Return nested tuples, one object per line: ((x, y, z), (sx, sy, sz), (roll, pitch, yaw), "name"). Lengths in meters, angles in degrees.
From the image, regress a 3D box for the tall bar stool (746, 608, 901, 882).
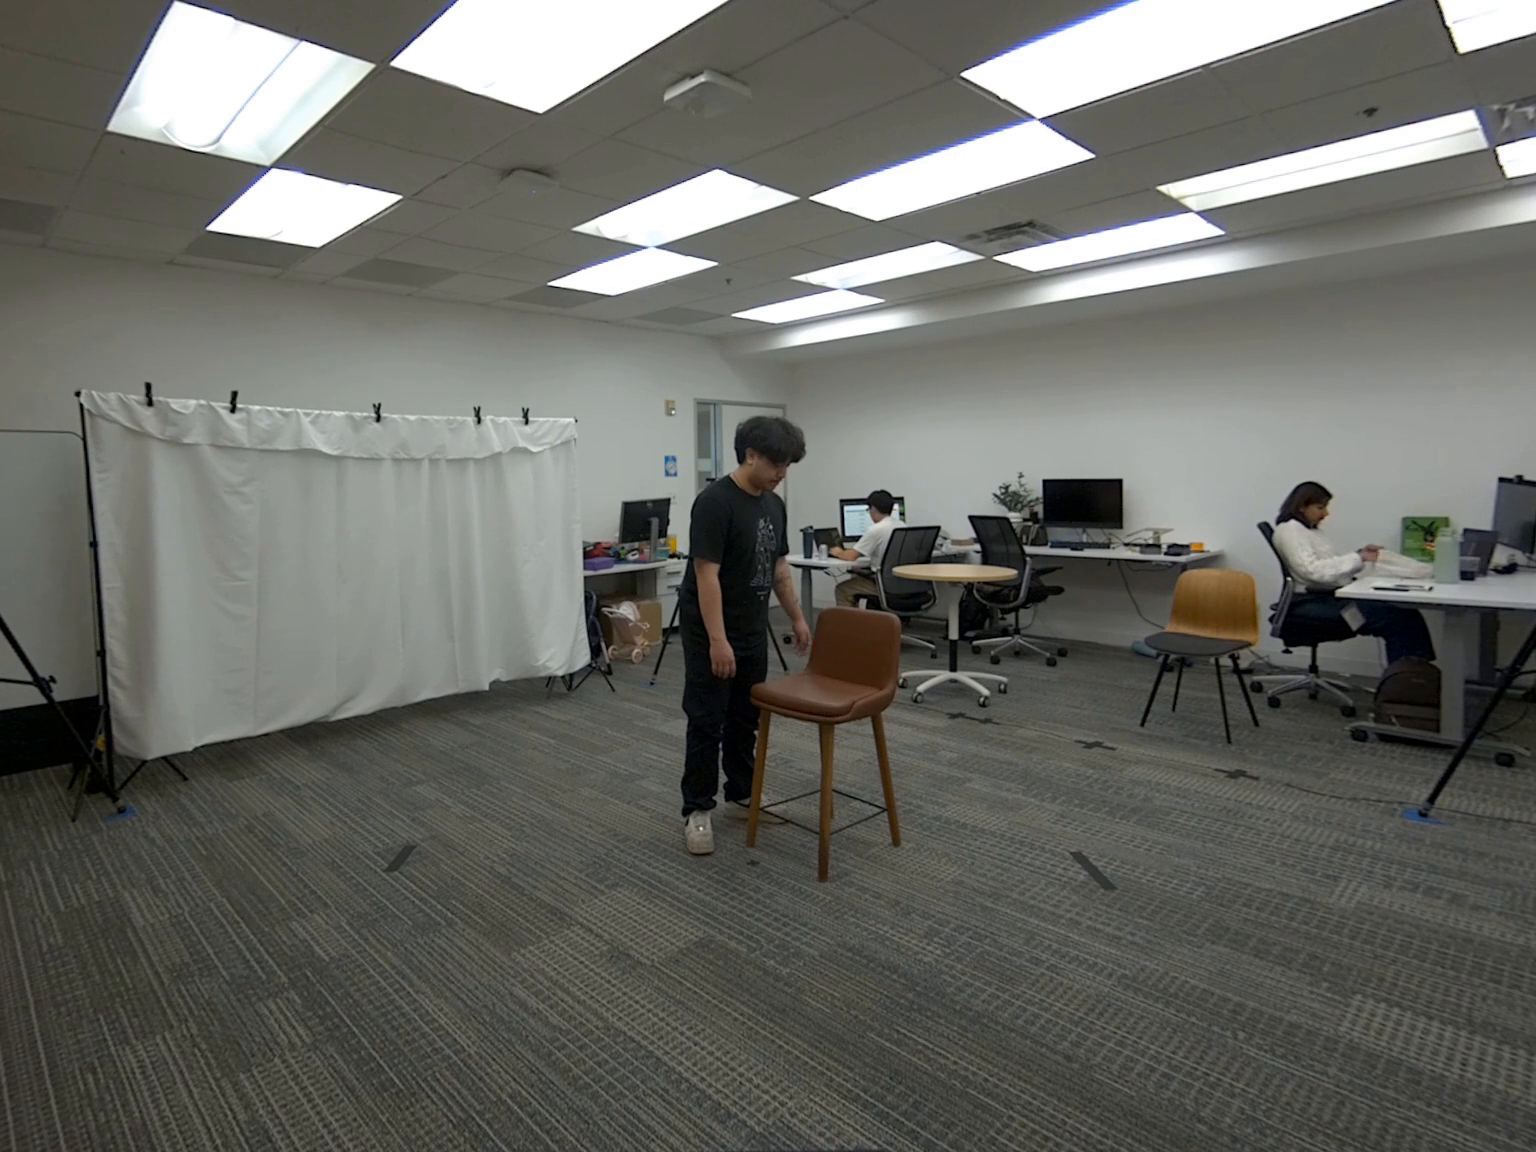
((0.221, 0.590, 3.211), (0.454, 0.888, 0.470), (-1, 4, -41), "tall bar stool")
